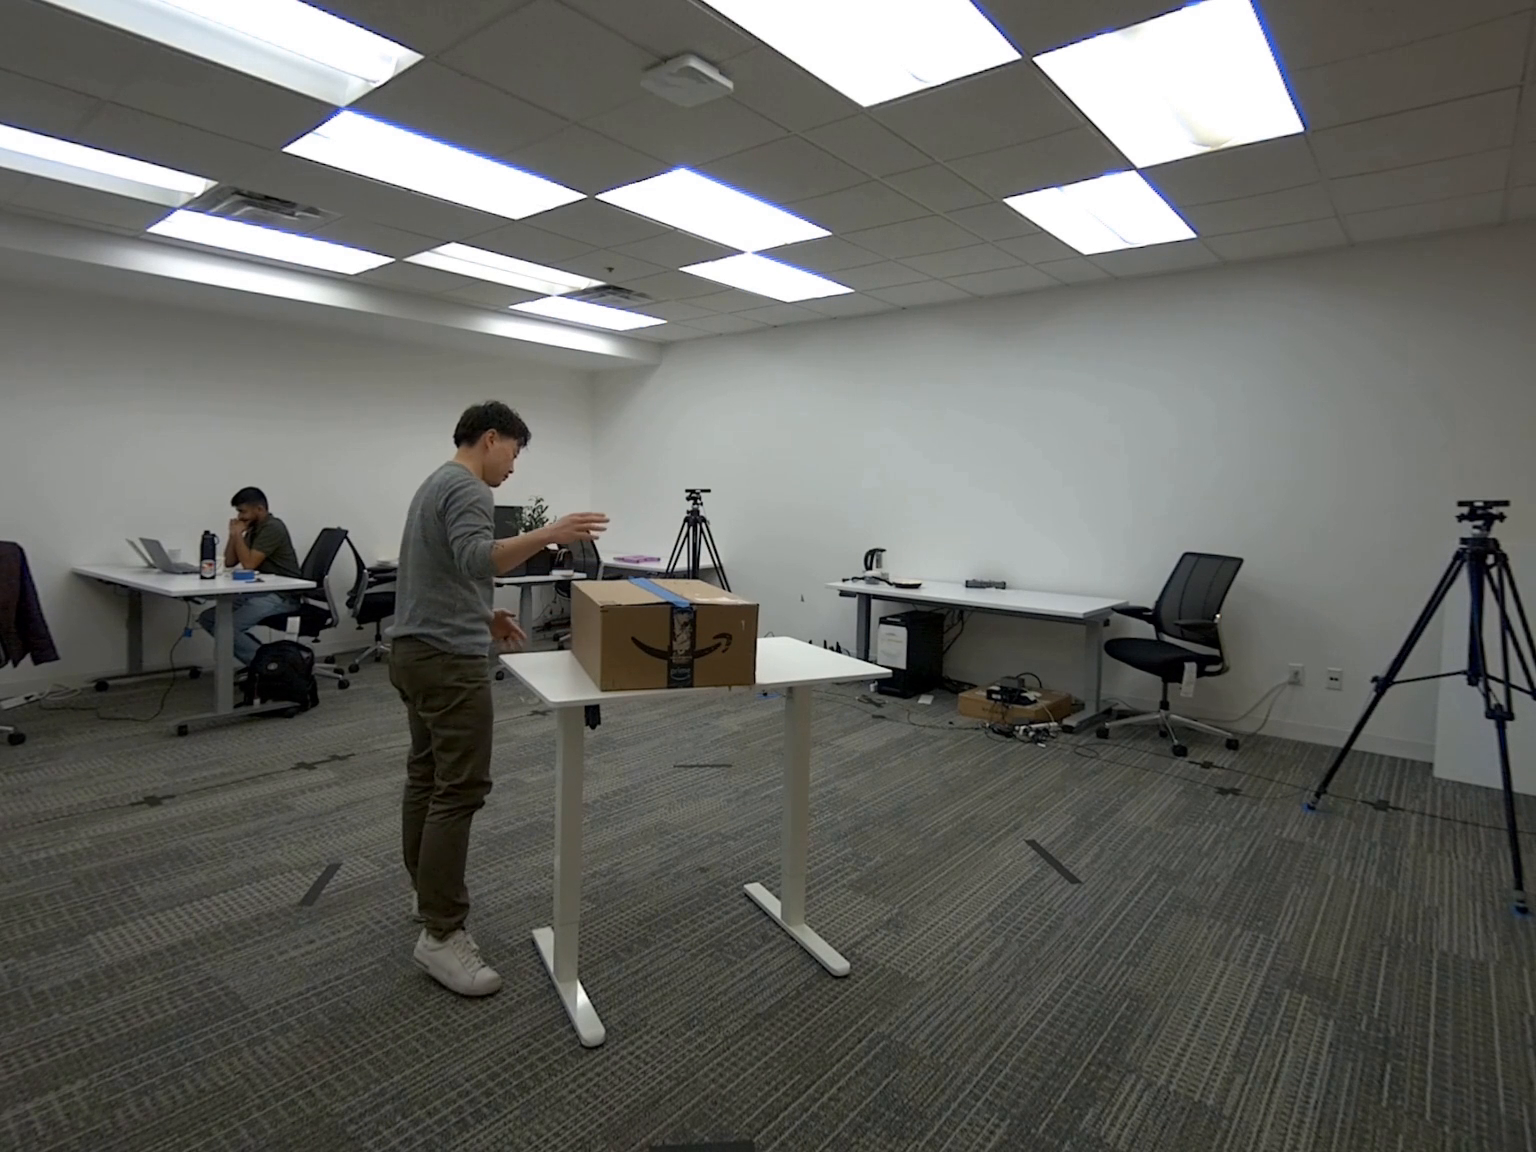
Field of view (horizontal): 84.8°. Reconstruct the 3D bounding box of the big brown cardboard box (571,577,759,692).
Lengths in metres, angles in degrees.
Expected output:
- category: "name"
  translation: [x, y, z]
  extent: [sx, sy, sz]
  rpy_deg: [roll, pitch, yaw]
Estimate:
- category: "big brown cardboard box"
  translation: [-0.328, 0.148, 2.427]
  extent: [0.409, 0.232, 0.603]
  rpy_deg: [0, 5, -22]
